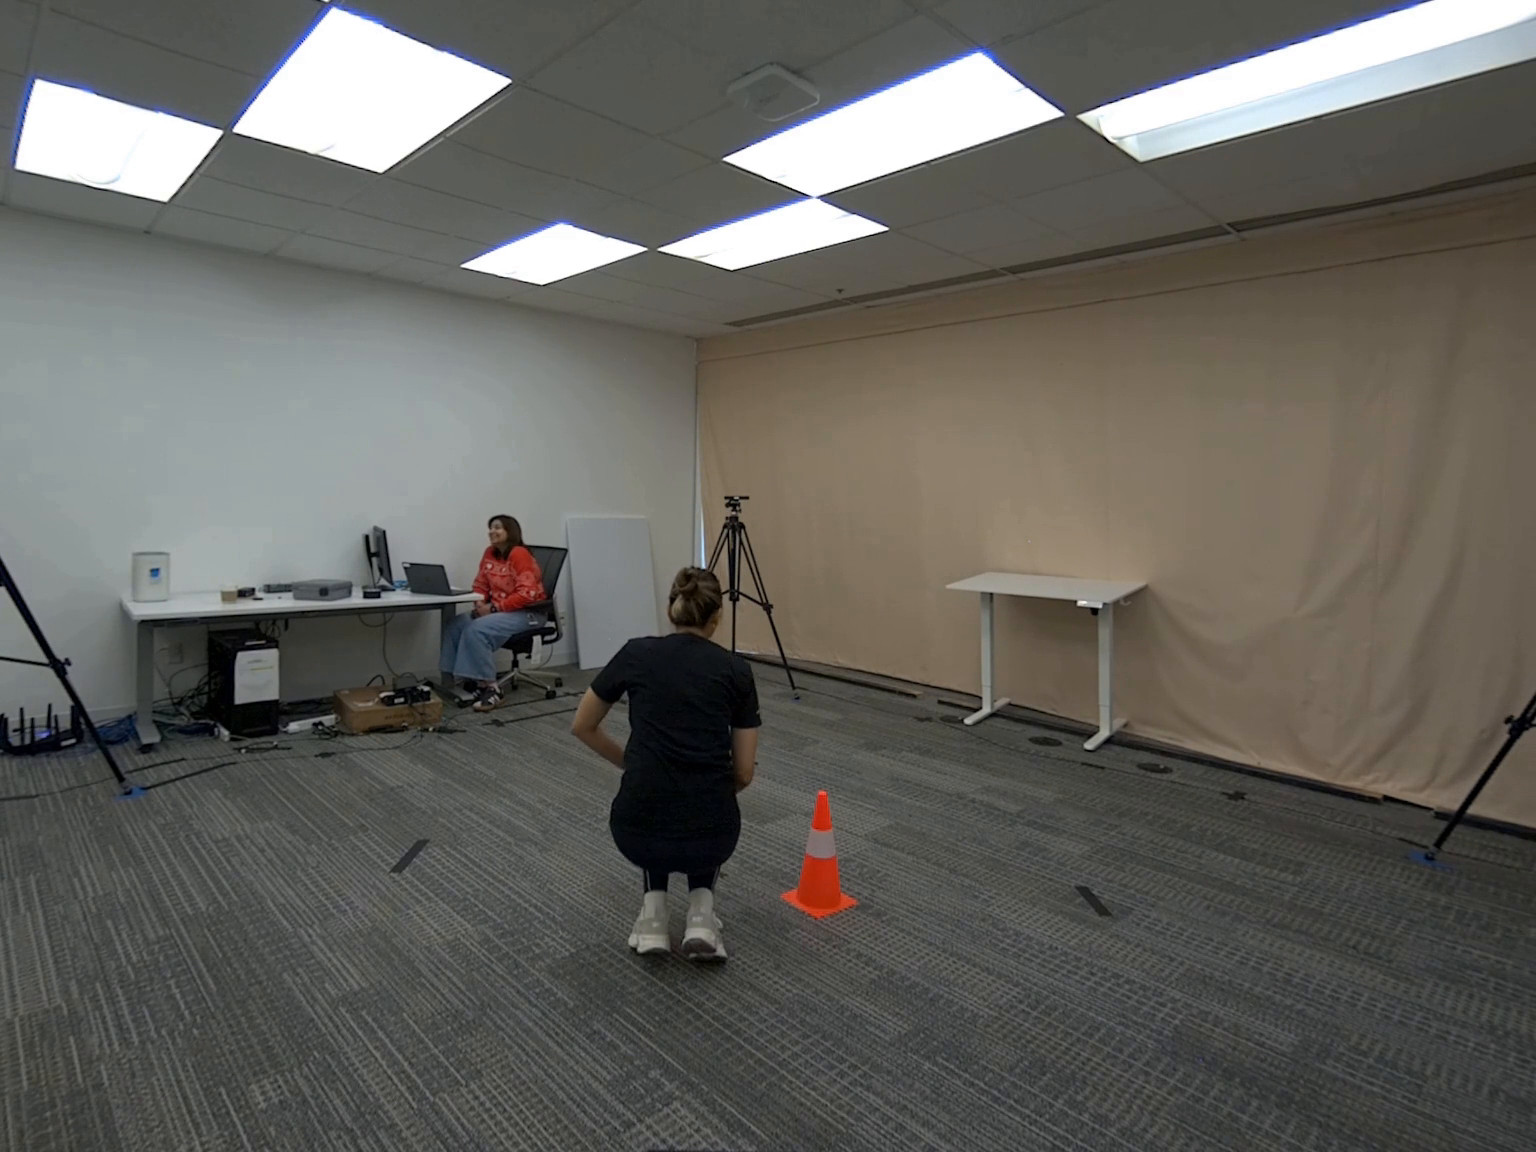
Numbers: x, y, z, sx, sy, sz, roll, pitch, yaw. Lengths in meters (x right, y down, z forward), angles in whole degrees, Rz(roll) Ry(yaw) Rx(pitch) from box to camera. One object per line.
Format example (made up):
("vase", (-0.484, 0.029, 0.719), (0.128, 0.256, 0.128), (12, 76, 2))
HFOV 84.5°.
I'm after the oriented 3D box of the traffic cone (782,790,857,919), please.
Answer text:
("traffic cone", (0.174, 0.944, 2.925), (0.210, 0.383, 0.199), (5, 4, 41))
